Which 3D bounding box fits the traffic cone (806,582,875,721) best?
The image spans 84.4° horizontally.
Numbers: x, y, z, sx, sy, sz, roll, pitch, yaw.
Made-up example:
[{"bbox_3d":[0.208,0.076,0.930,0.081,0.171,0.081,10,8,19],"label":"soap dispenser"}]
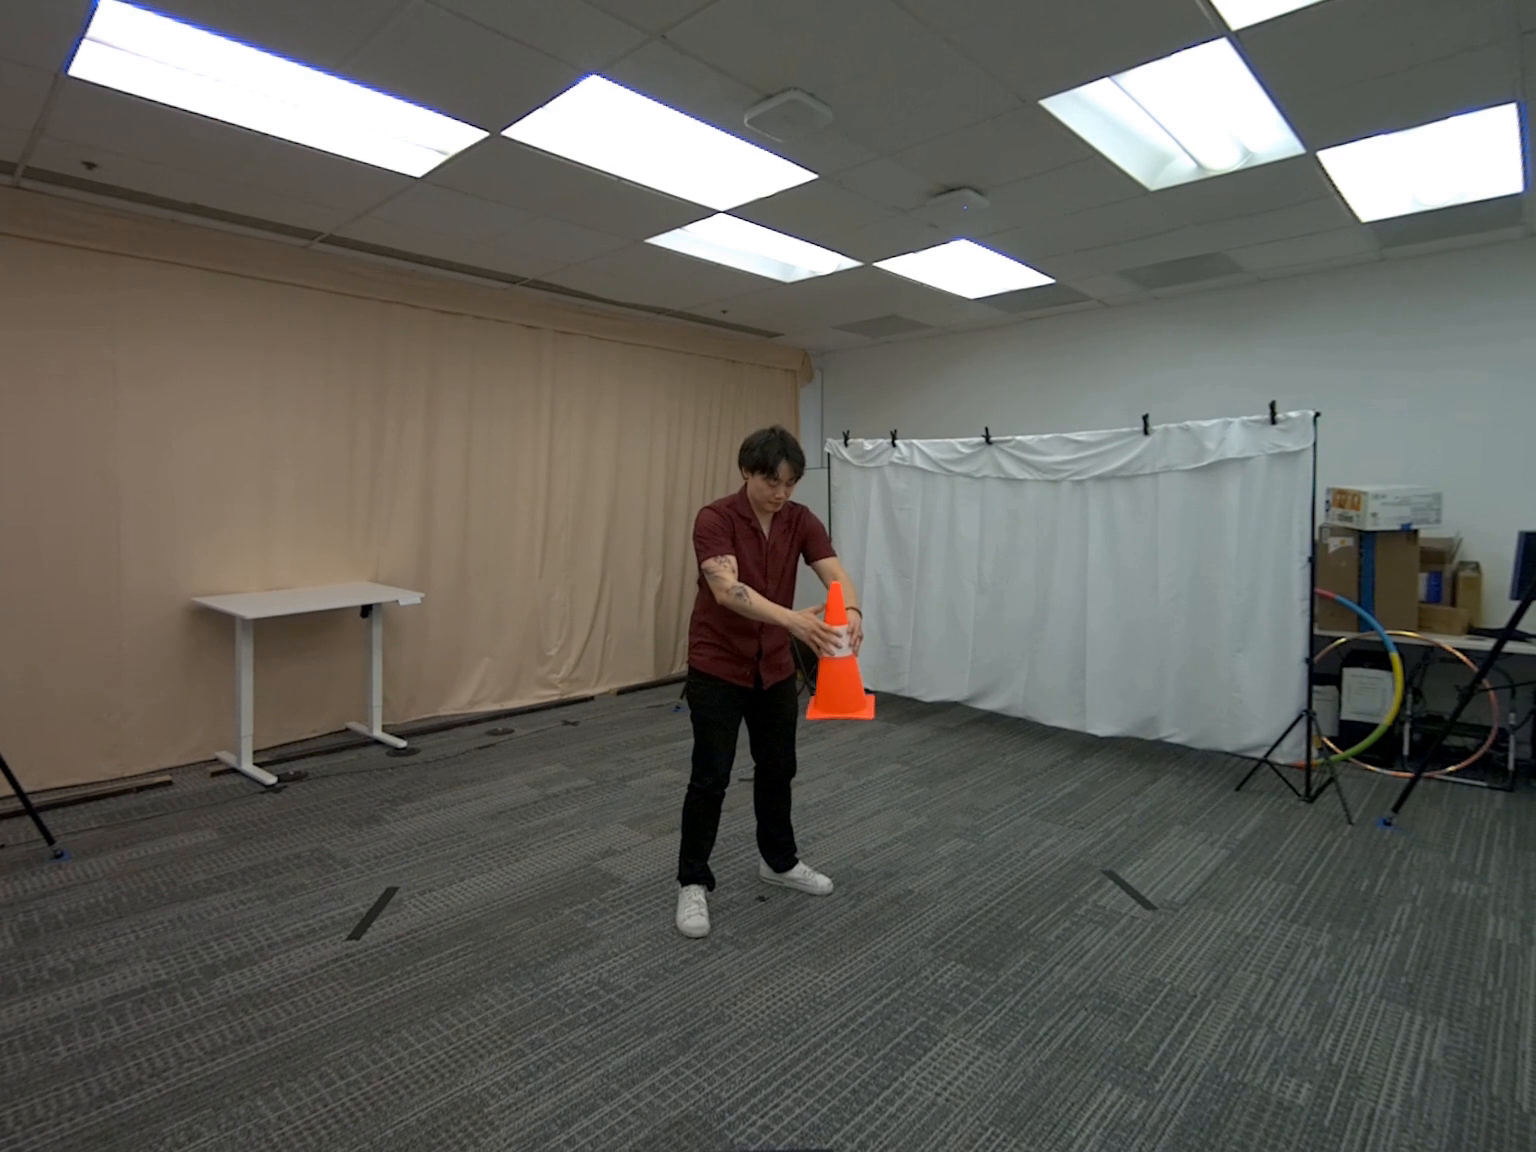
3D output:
[{"bbox_3d":[0.210,0.207,2.505,0.206,0.382,0.203,-4,7,12],"label":"traffic cone"}]
